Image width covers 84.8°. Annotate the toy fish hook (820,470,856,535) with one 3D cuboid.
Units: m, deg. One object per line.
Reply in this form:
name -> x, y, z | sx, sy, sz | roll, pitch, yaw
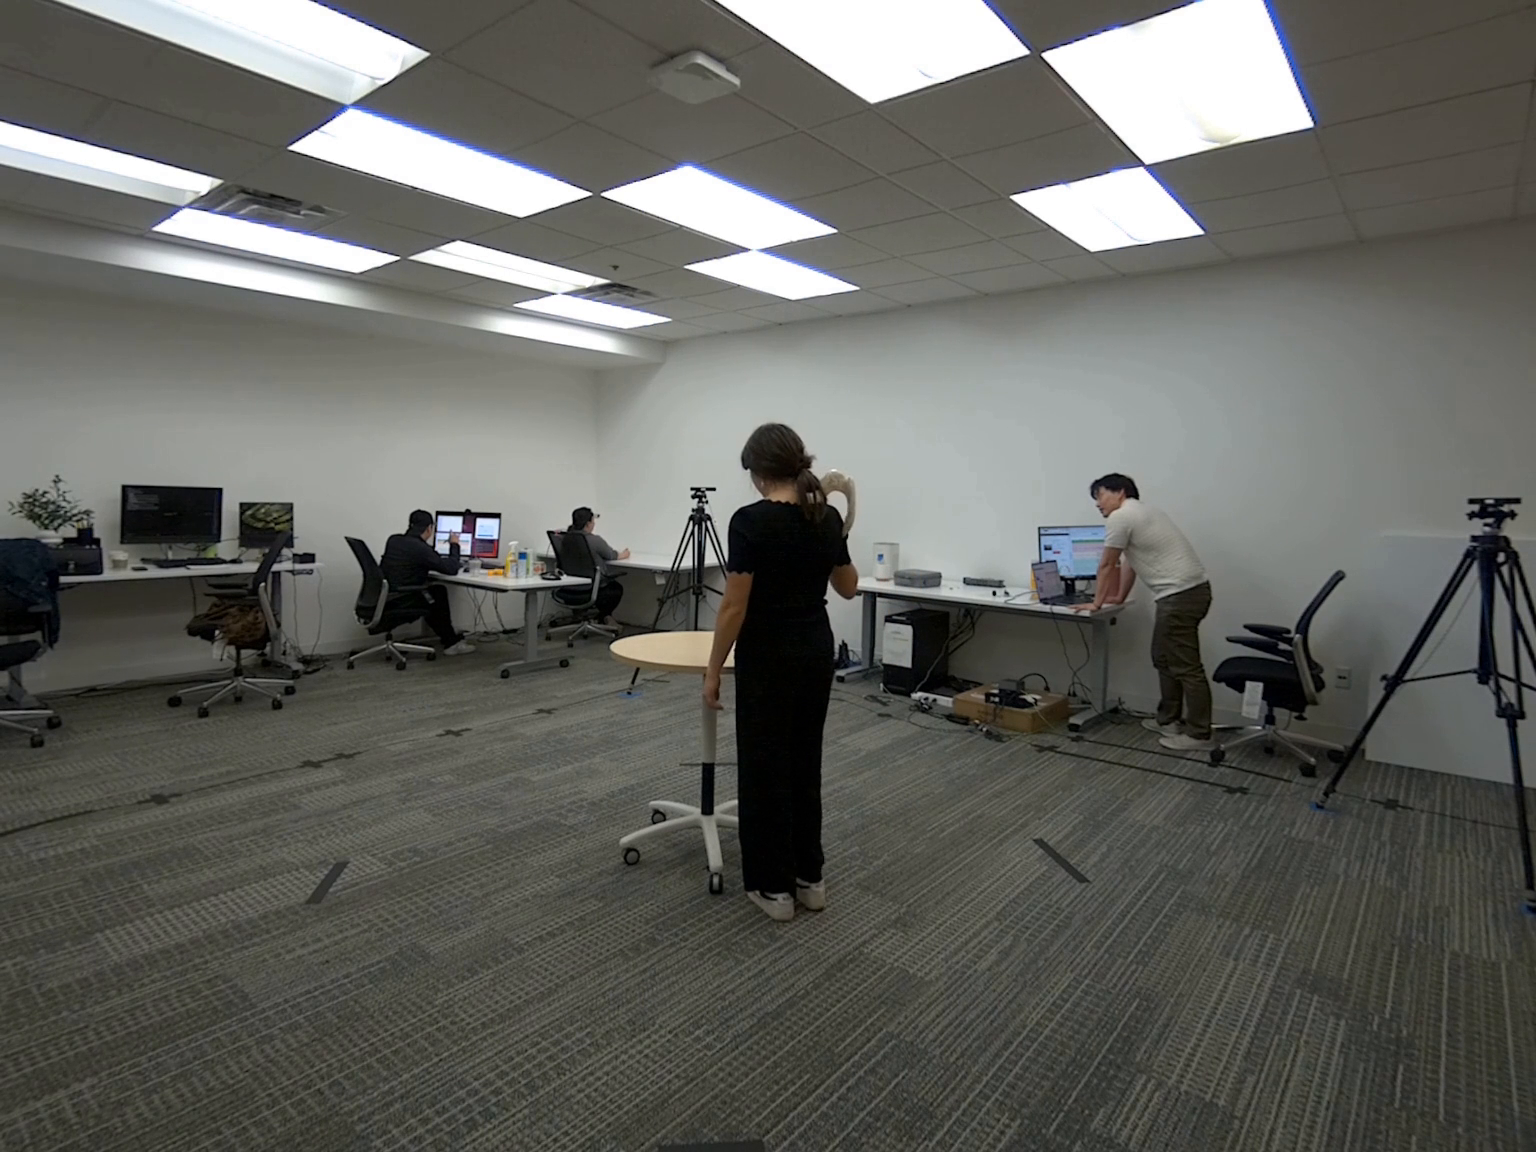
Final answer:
toy fish hook -> 0.173, -0.101, 2.853 | 0.047, 0.502, 0.233 | 6, 16, -29
